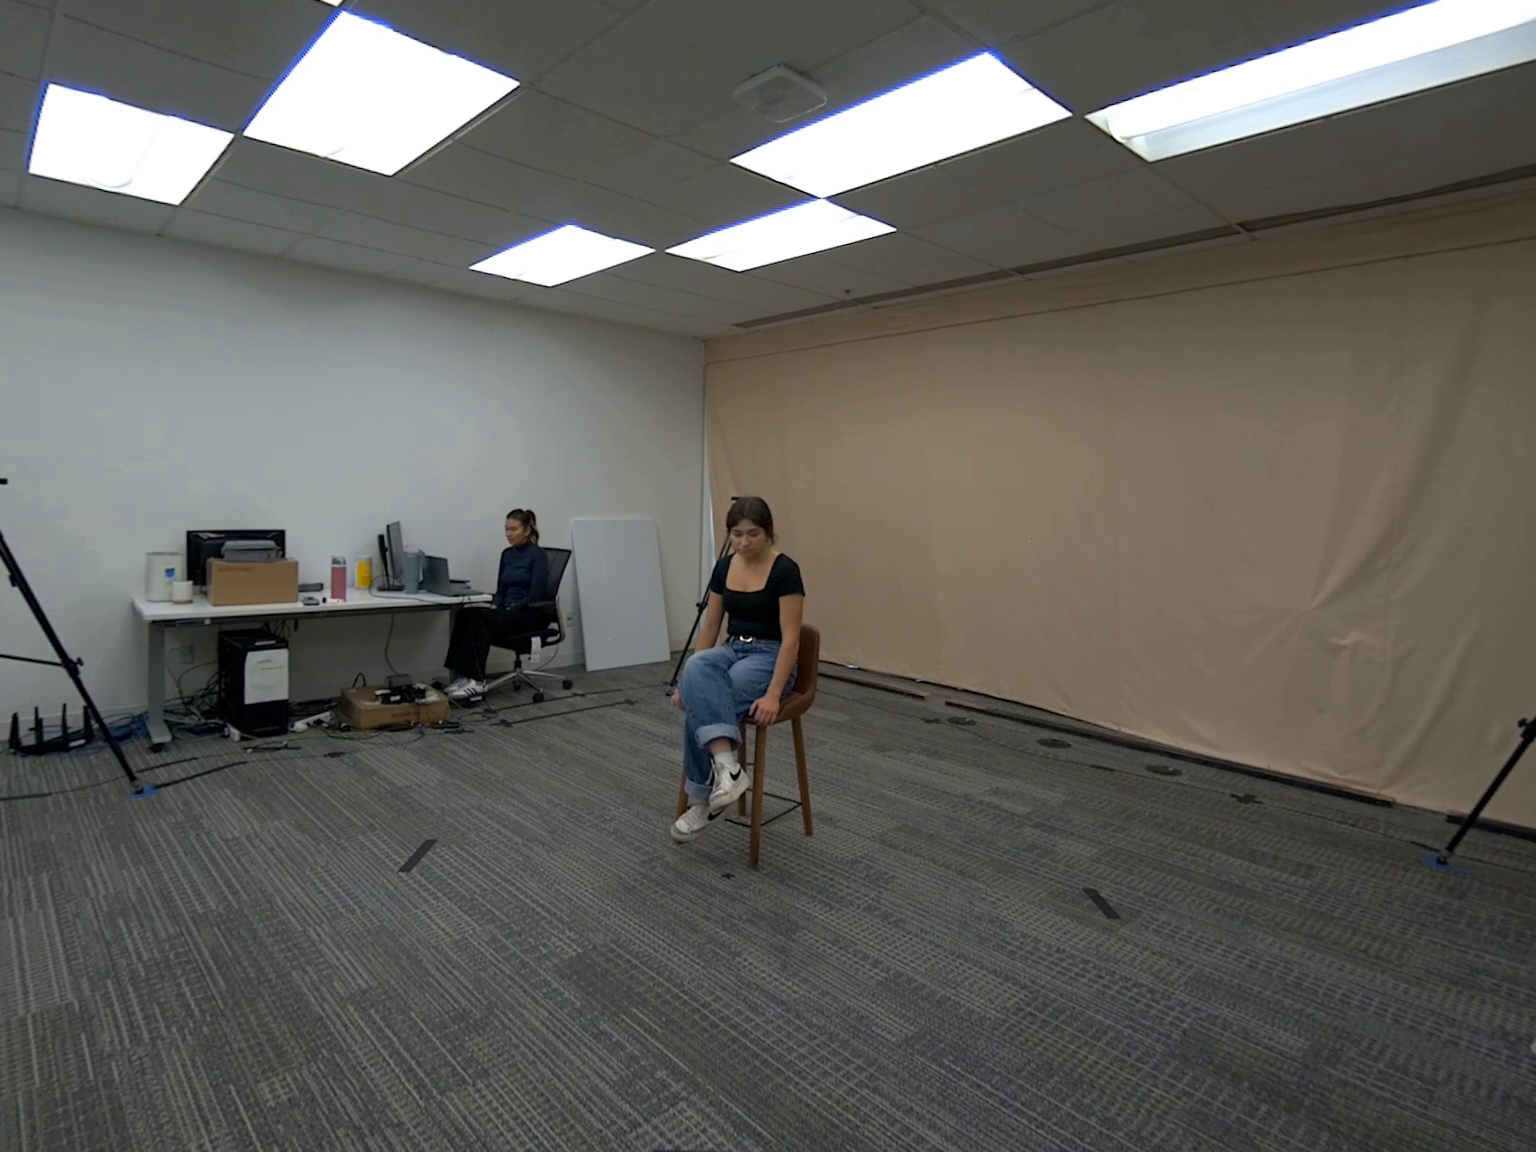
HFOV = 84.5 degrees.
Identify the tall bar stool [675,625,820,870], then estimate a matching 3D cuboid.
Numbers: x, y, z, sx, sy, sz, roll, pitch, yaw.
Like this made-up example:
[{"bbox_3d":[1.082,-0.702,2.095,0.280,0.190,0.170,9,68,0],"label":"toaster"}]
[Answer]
[{"bbox_3d":[-0.075,0.649,3.433,0.467,0.888,0.457,4,2,36],"label":"tall bar stool"}]
